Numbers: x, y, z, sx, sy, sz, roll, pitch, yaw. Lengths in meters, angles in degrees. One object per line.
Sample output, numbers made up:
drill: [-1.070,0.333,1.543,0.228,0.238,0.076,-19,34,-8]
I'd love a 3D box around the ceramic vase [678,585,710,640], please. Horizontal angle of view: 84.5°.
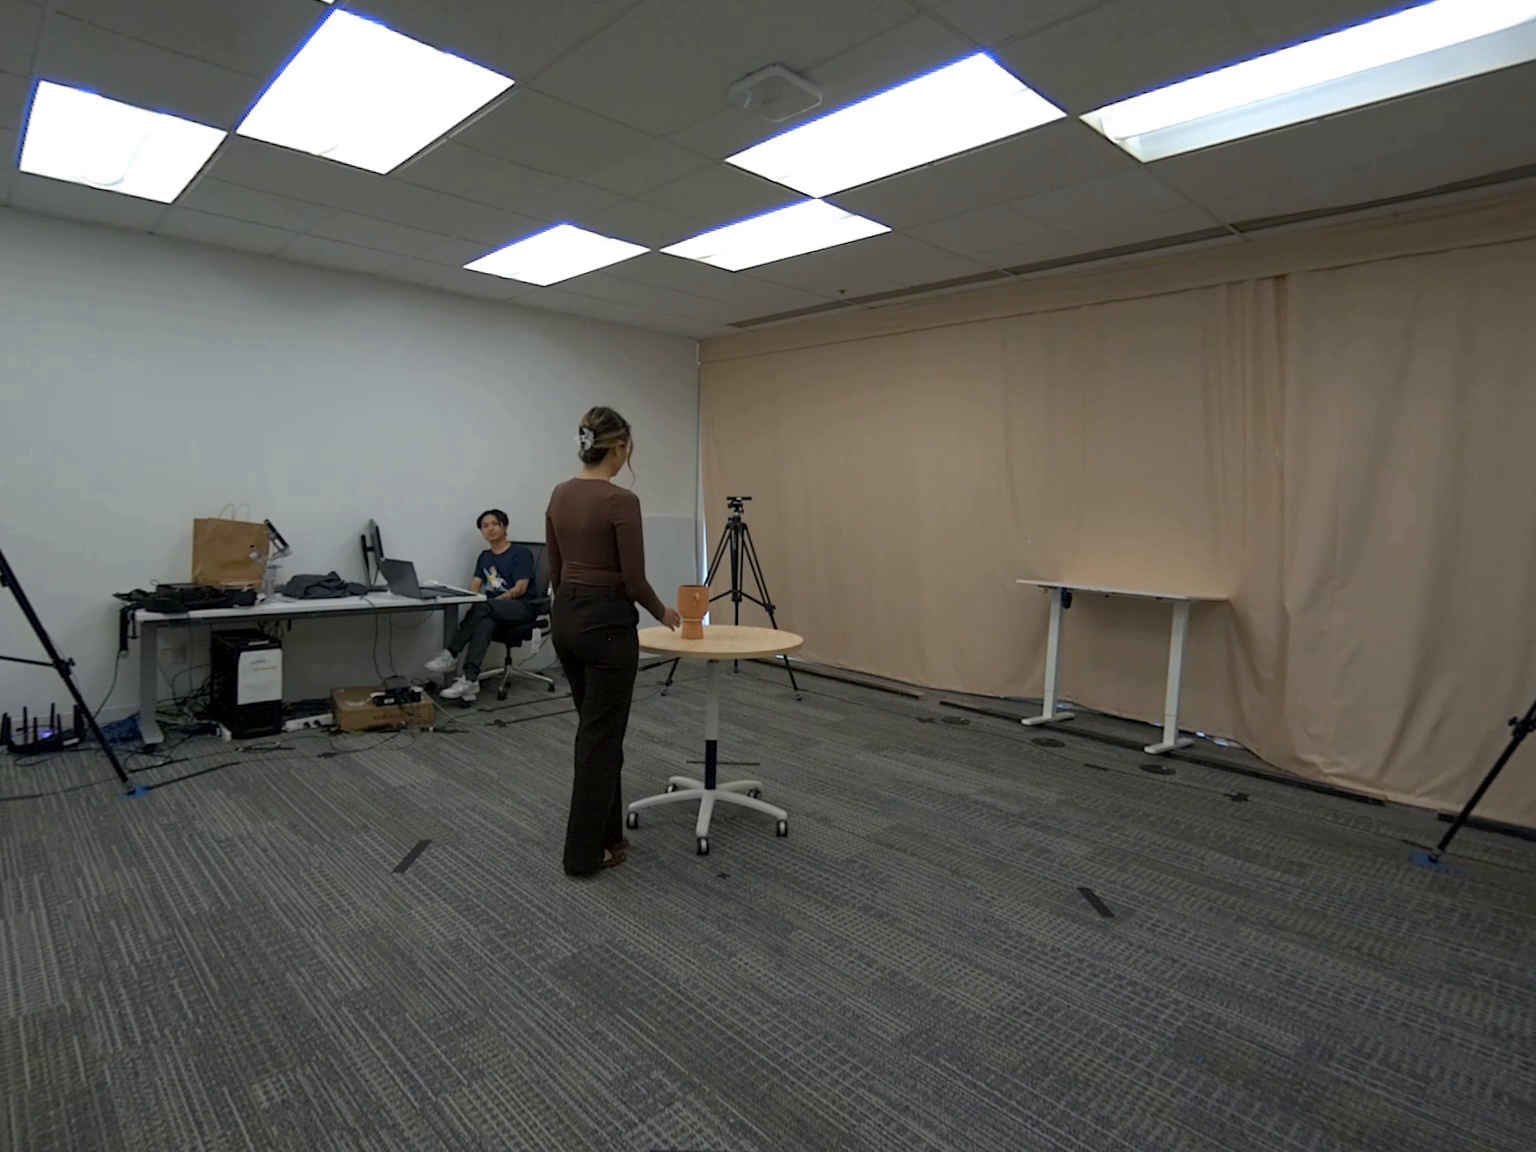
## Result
ceramic vase: [-0.330,0.155,3.574,0.137,0.219,0.156,2,2,24]
